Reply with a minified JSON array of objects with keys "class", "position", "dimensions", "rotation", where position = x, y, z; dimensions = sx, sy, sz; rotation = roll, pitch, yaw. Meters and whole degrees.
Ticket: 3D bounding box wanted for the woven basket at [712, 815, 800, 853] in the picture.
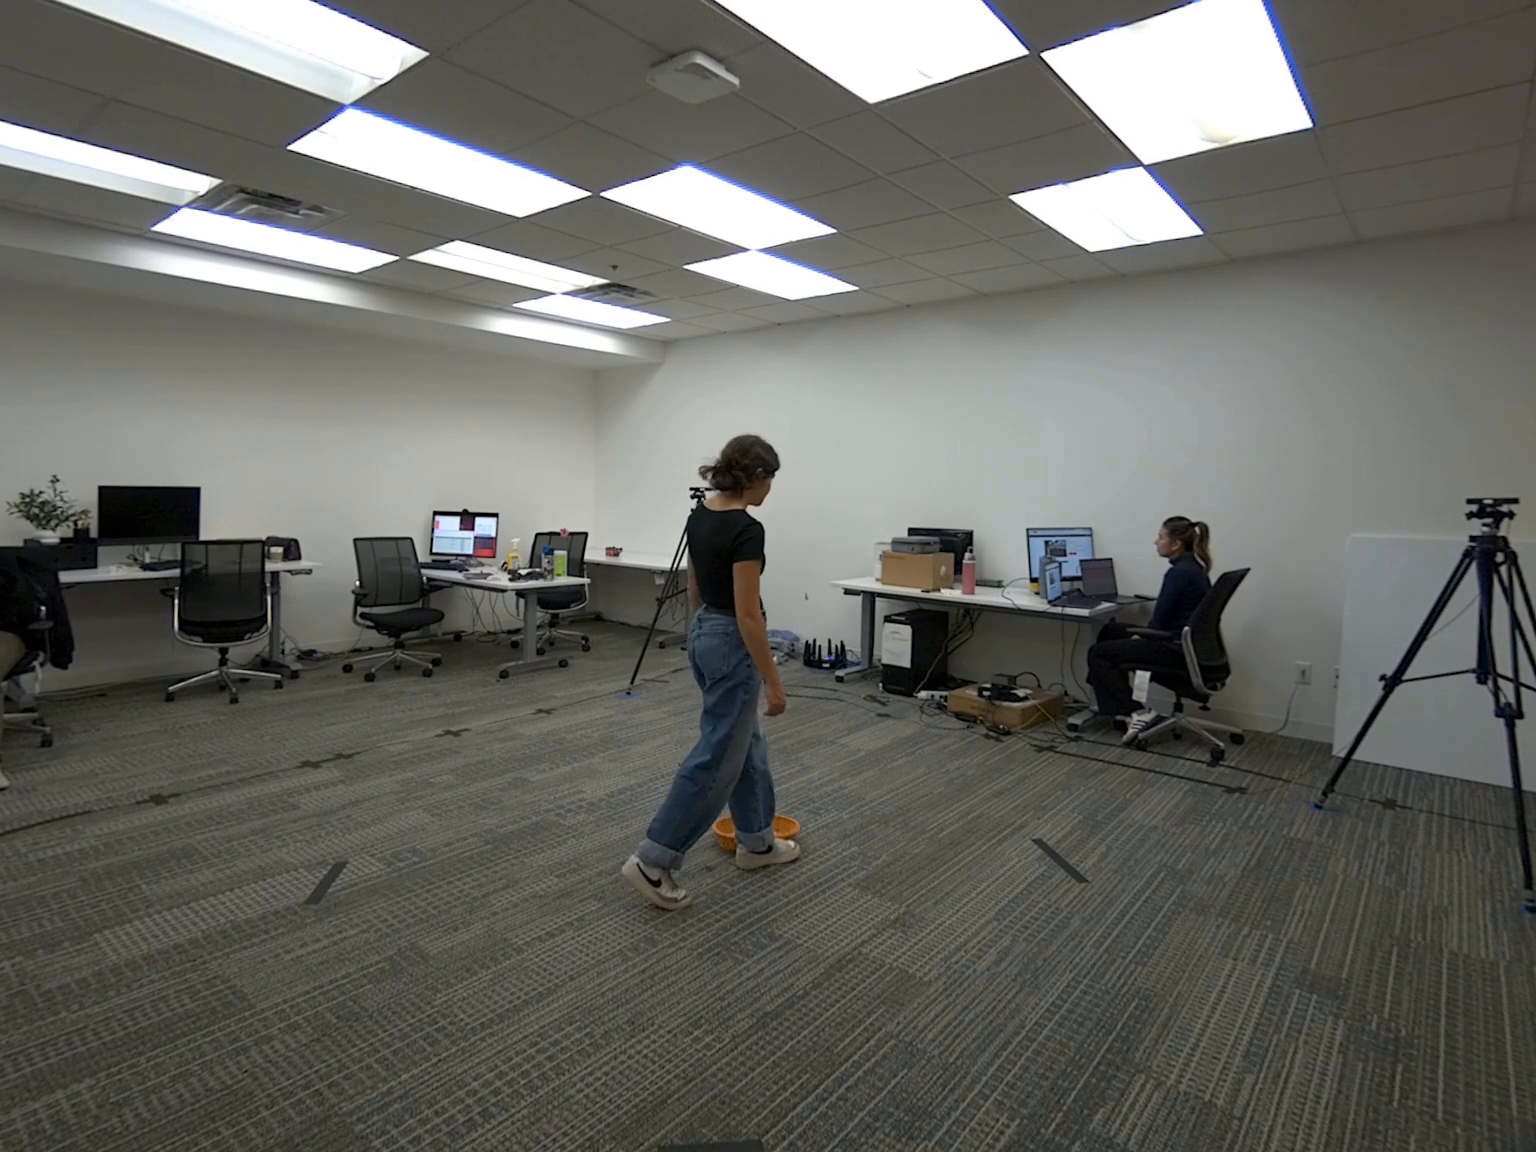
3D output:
[{"class":"woven basket","position":[-0.060,1.004,3.337],"dimensions":[0.346,0.073,0.256],"rotation":[0,4,-12]}]
